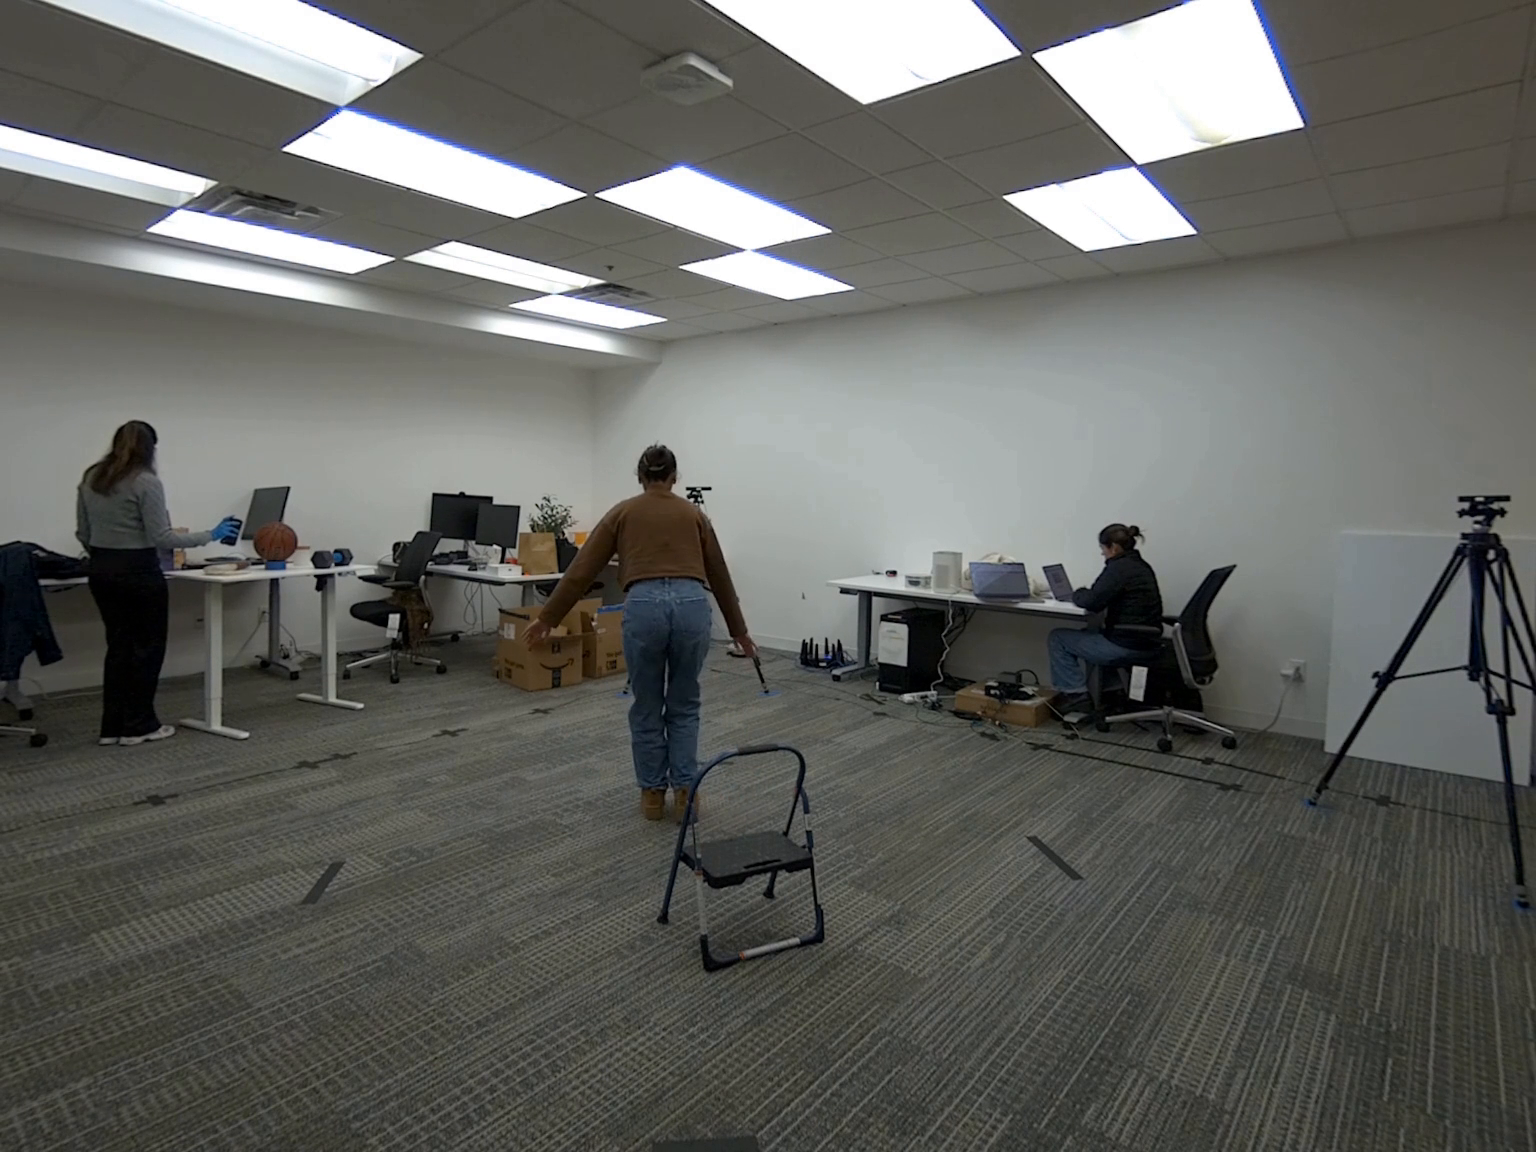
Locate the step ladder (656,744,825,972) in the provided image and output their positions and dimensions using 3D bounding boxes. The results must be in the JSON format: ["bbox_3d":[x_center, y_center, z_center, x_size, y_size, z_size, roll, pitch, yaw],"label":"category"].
[{"bbox_3d":[-0.088,0.811,2.660,0.419,0.604,0.360,-1,5,-31],"label":"step ladder"}]
